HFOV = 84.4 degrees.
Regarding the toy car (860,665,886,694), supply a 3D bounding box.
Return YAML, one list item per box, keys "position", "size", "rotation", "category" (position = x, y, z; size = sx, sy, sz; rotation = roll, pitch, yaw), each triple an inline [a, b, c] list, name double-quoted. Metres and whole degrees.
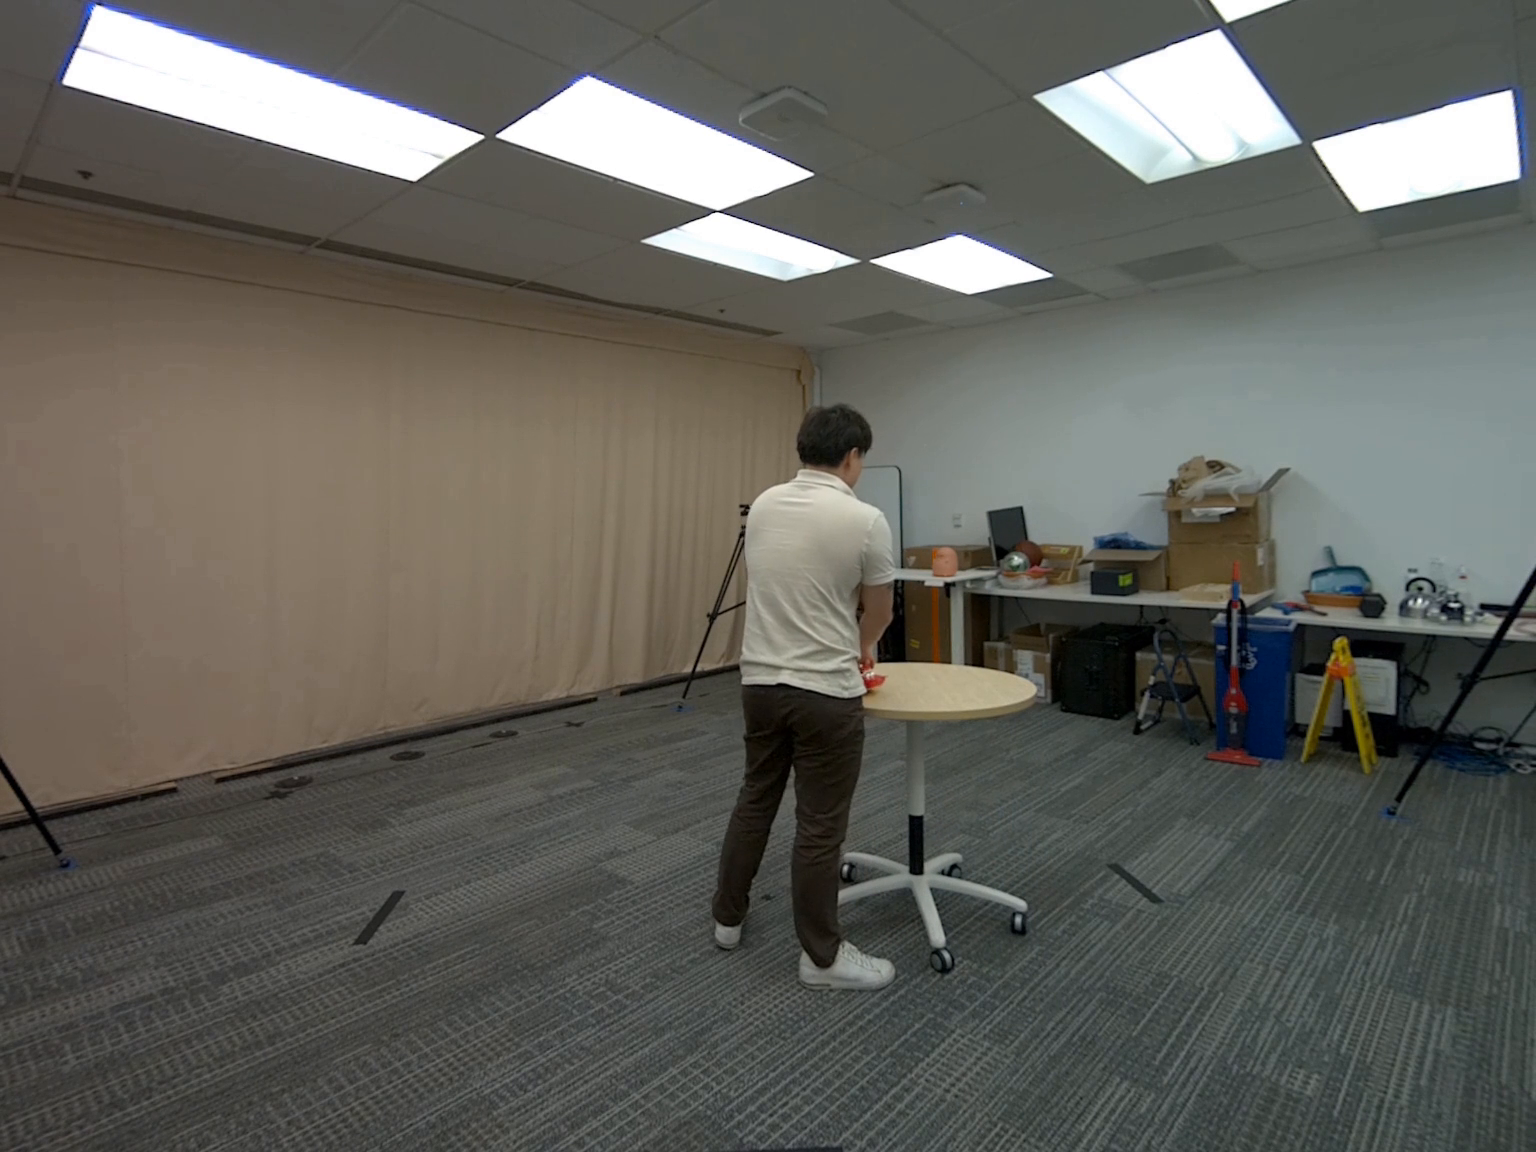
- position: [0.271, 0.344, 2.719]
  size: [0.261, 0.083, 0.126]
  rotation: [-11, -4, 35]
  category: "toy car"
